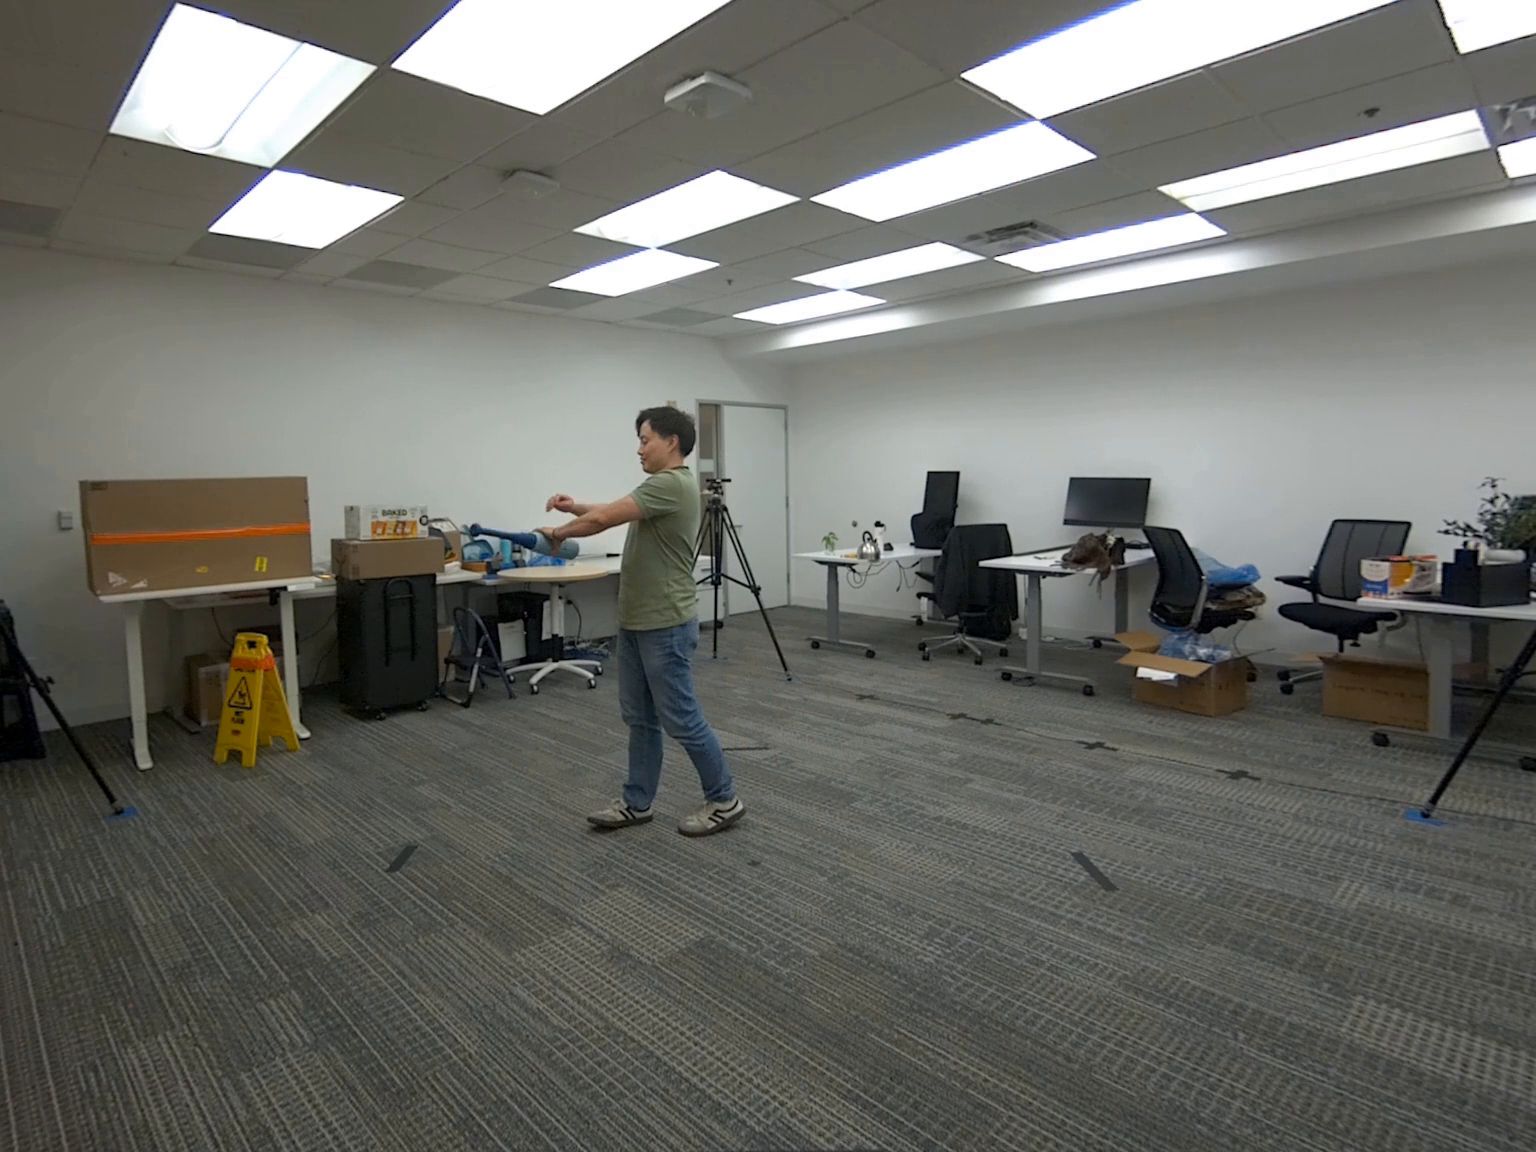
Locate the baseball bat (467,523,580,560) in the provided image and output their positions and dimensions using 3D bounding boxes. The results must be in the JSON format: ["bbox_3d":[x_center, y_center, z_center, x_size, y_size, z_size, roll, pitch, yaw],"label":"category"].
[{"bbox_3d":[-0.920,-0.135,3.286,0.091,0.089,0.527,2,-5,26],"label":"baseball bat"}]
